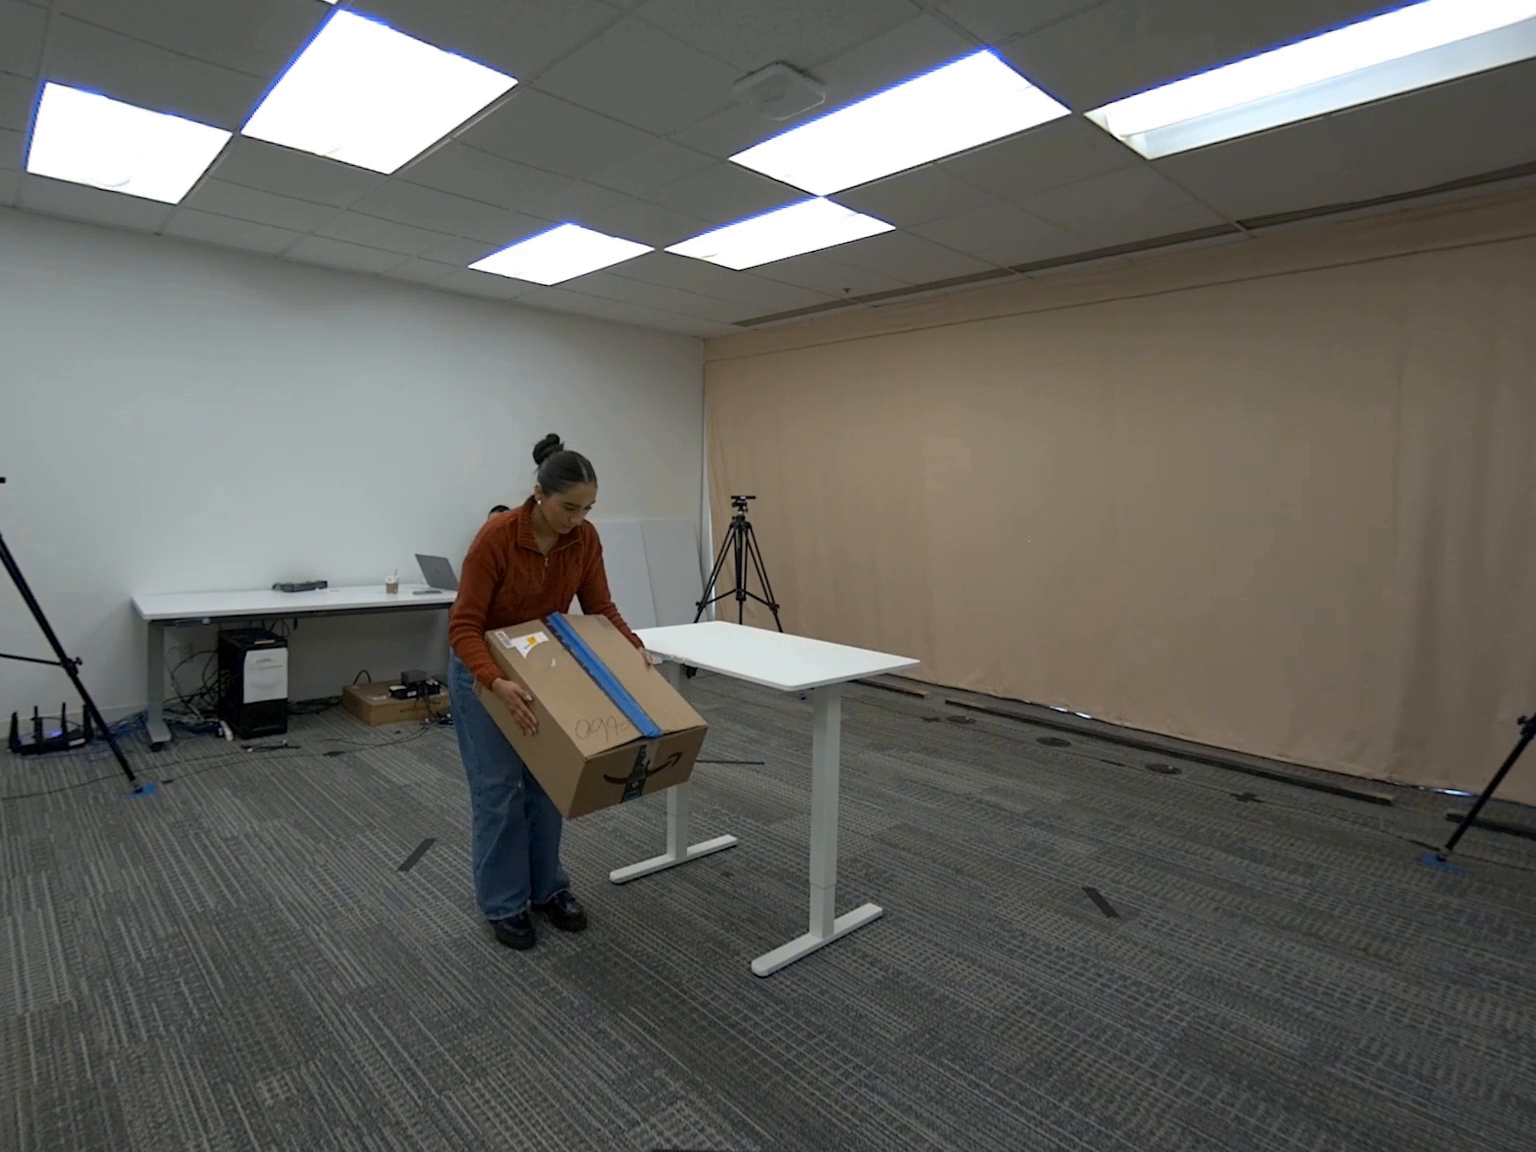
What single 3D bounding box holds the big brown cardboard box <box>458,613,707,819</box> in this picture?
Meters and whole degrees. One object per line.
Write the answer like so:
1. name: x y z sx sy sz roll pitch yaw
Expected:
1. big brown cardboard box: -0.531 0.385 2.433 0.408 0.231 0.607 -6 36 -44
